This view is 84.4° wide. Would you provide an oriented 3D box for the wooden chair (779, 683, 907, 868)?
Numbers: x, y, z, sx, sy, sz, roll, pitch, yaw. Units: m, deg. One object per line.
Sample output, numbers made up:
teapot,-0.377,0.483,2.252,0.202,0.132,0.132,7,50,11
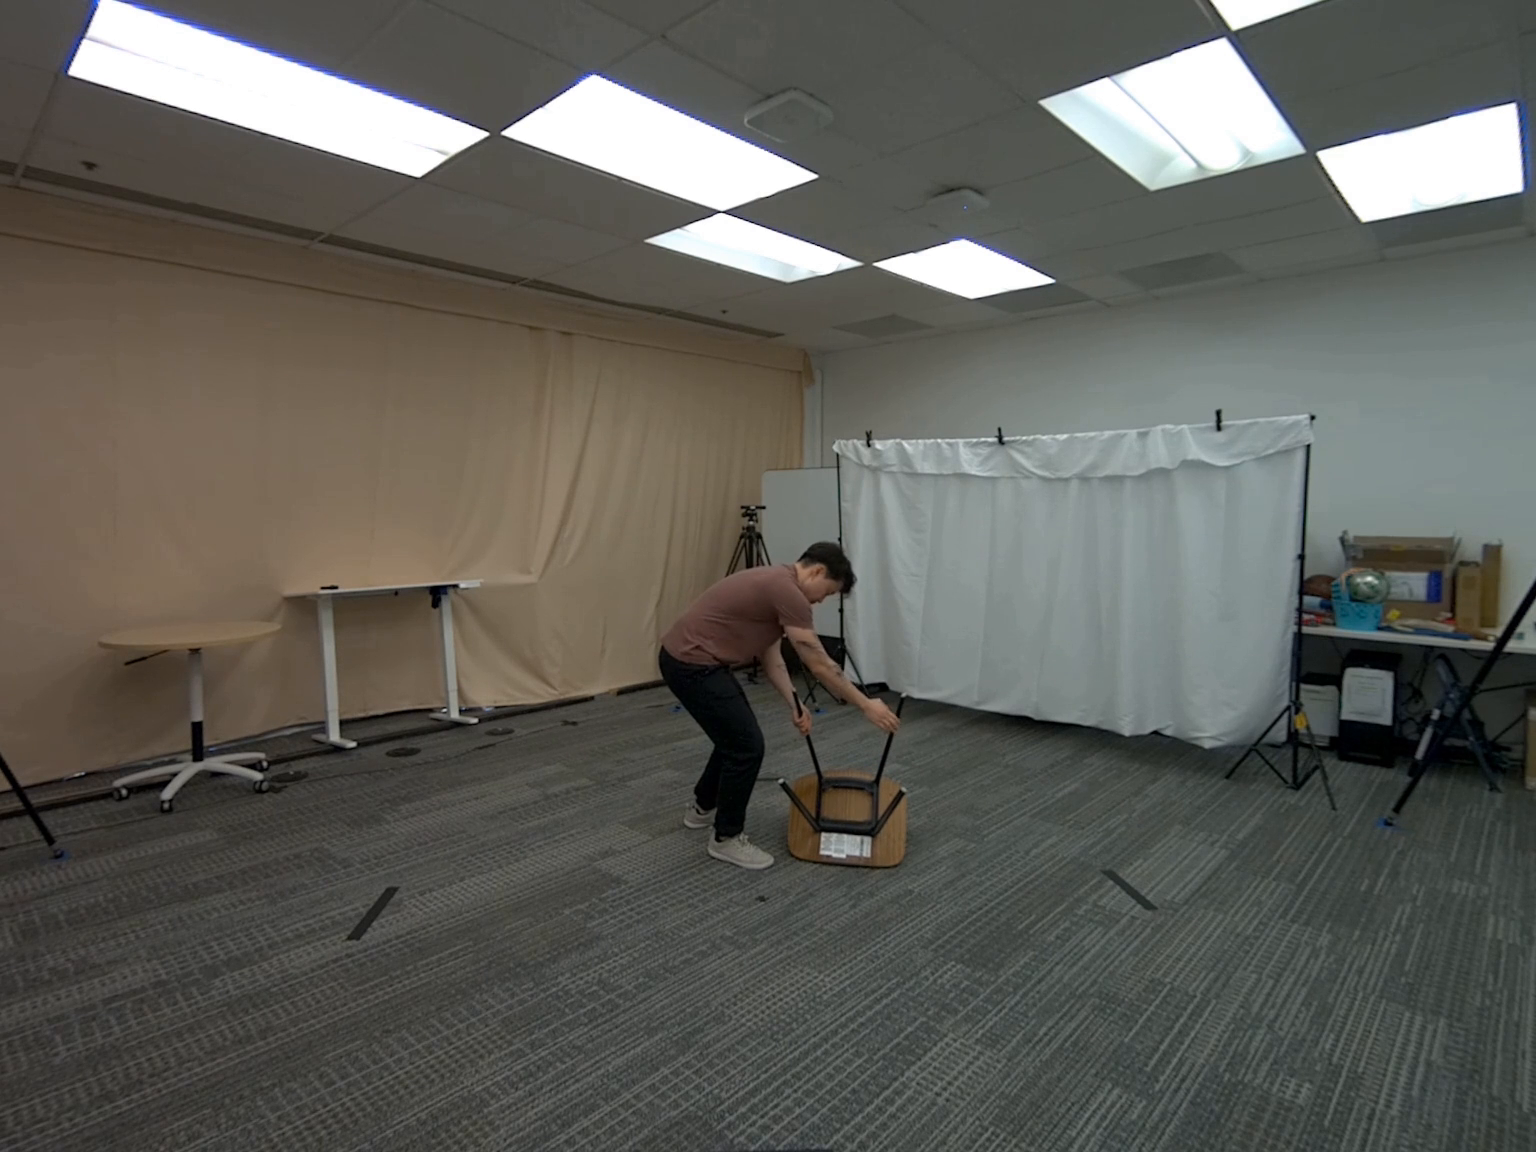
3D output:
wooden chair,0.322,0.934,3.430,0.483,0.857,0.529,1,44,9
